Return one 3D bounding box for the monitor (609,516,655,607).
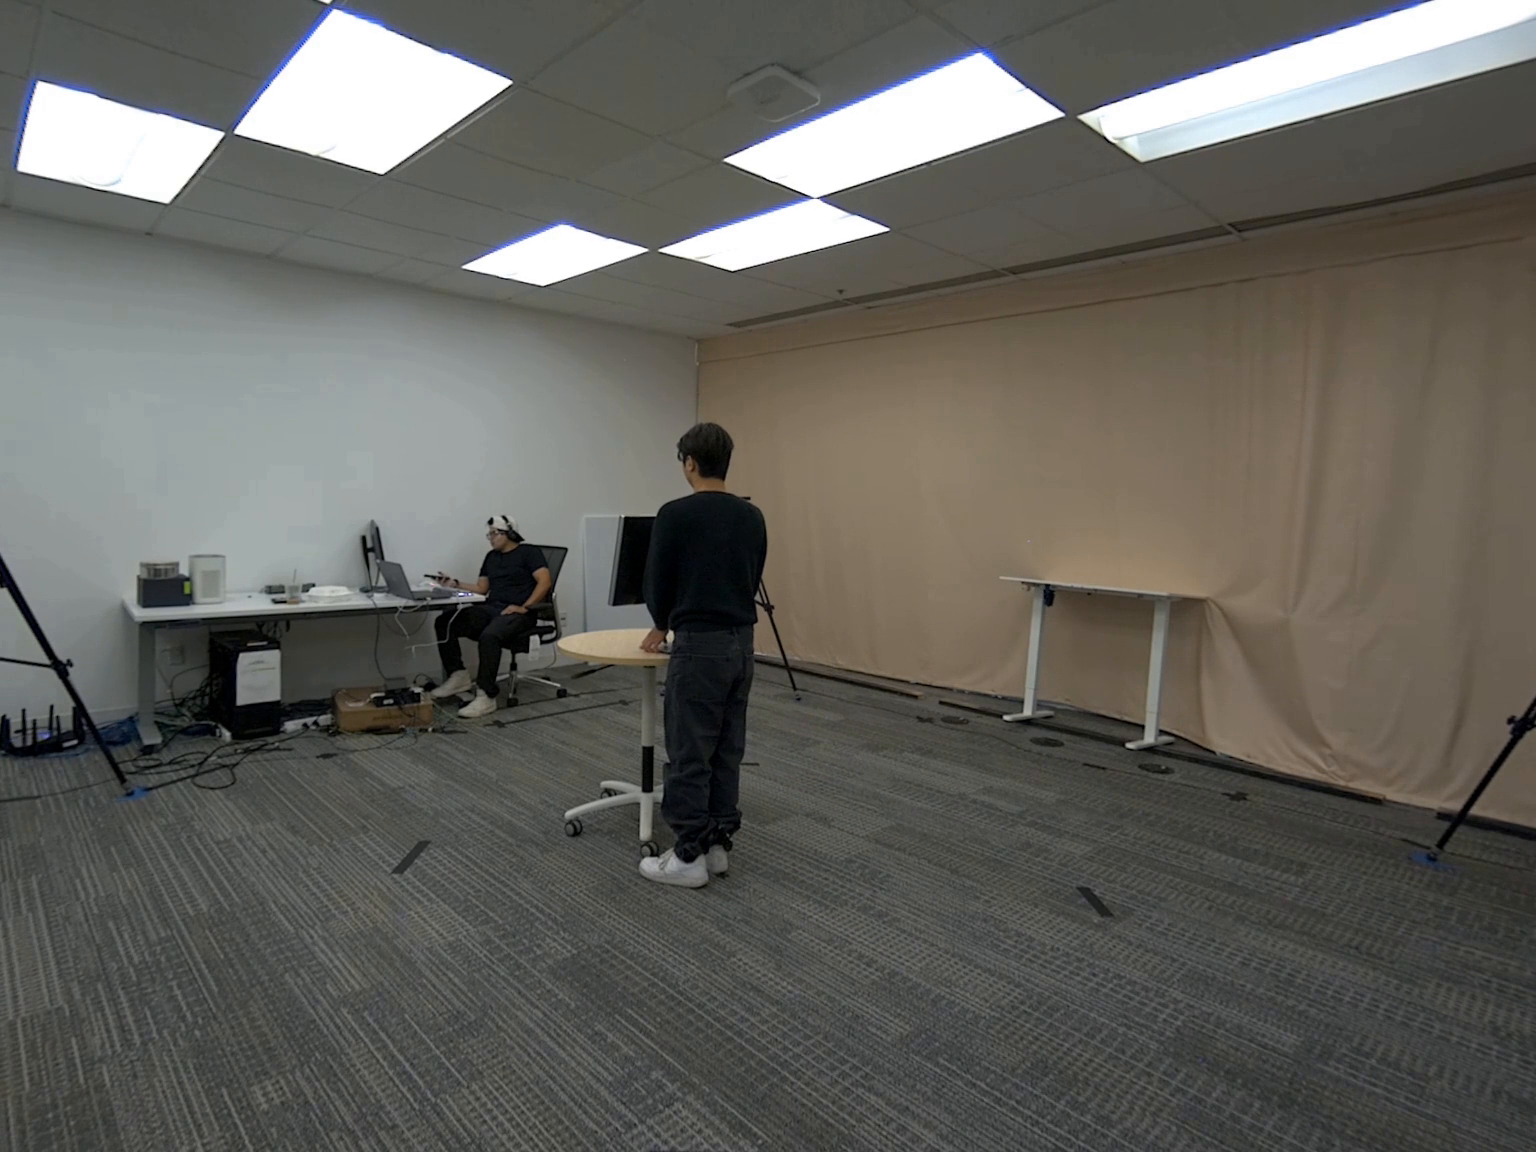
[{"bbox_3d":[-0.363,0.028,3.395,0.192,0.521,0.527,4,5,41],"label":"monitor"}]
